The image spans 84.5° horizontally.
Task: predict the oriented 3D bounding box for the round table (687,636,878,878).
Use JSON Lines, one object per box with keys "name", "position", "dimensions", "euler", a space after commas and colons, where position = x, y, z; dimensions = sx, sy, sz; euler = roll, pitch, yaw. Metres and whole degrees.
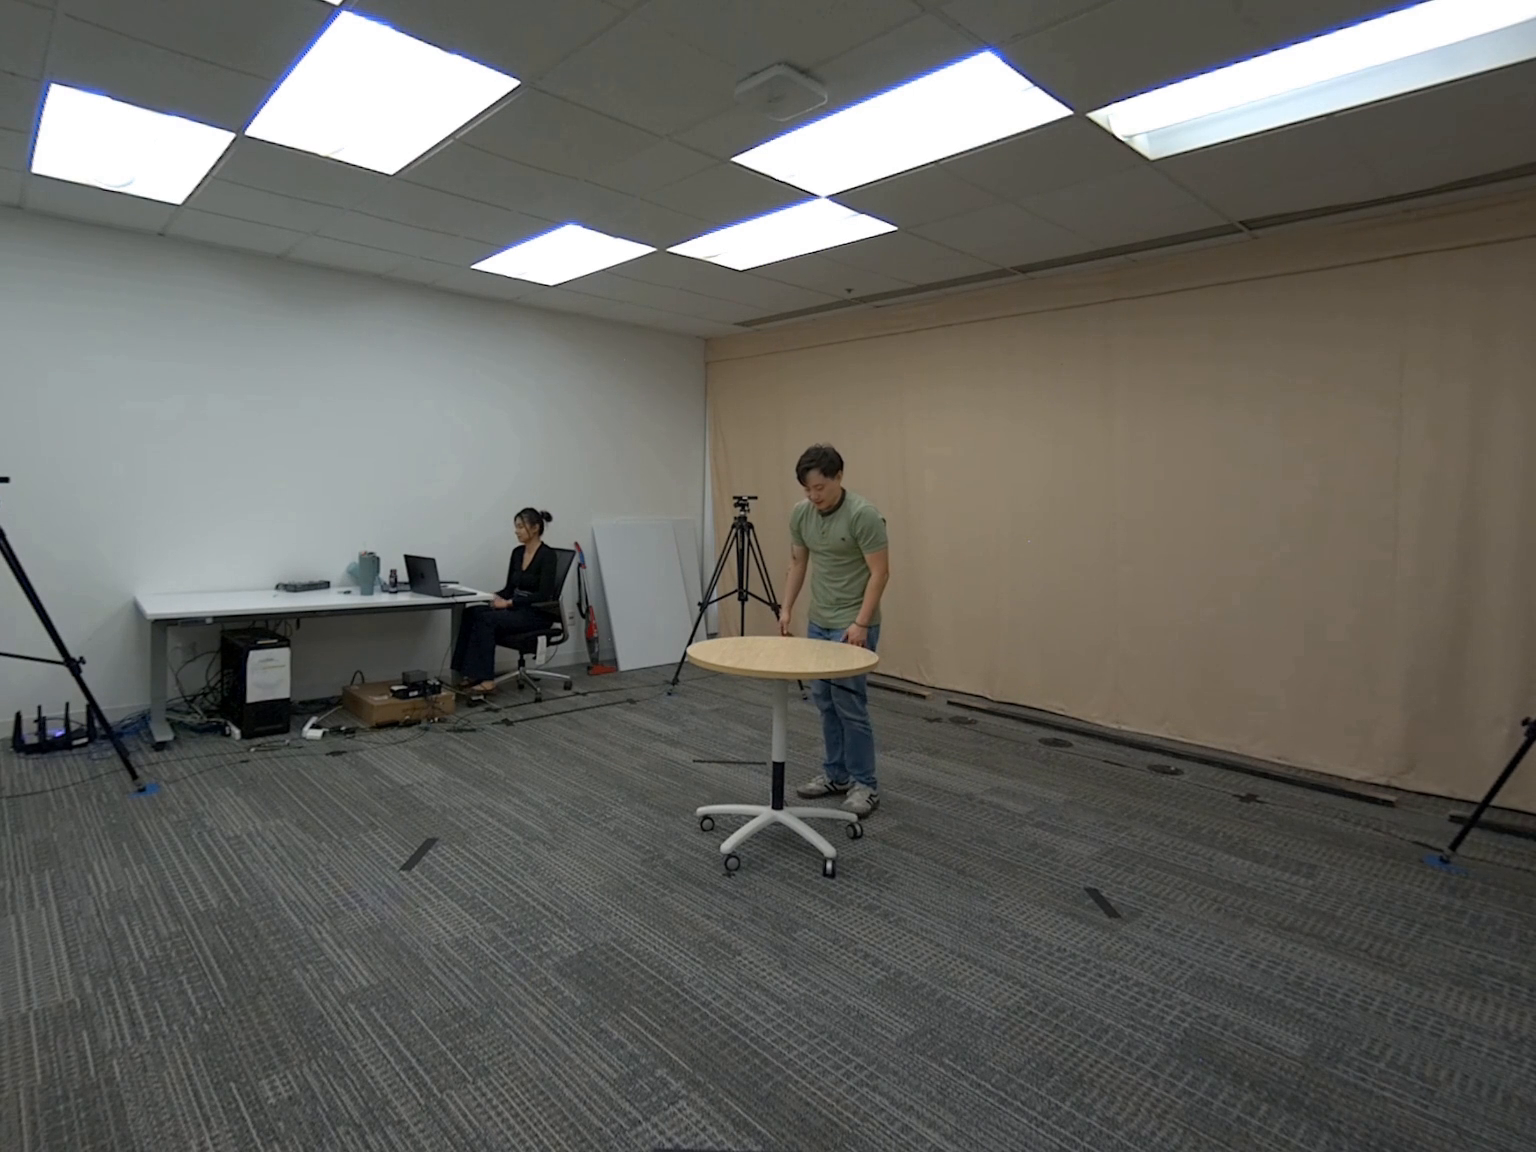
{"name": "round table", "position": [0.036, 0.695, 3.387], "dimensions": [0.763, 0.792, 0.766], "euler": [2, 4, -1]}
